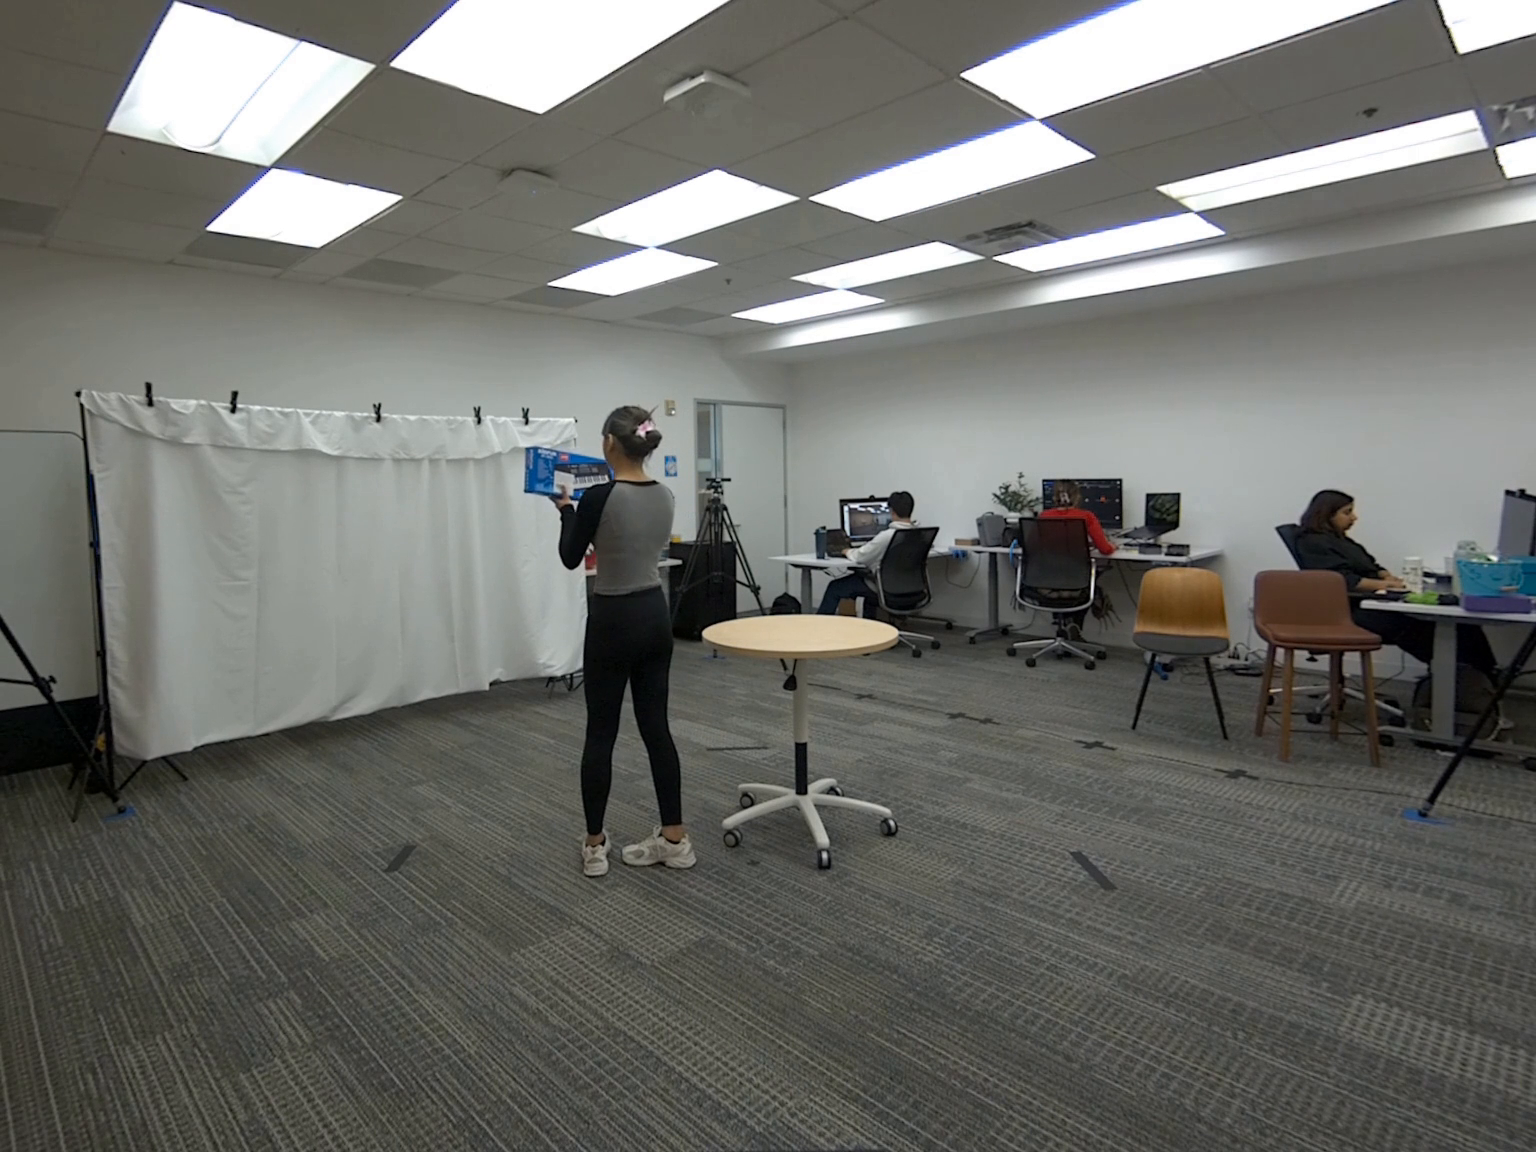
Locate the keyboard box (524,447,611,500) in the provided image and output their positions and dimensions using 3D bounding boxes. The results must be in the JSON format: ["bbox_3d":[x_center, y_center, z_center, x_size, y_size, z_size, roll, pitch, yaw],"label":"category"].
[{"bbox_3d":[-0.755,-0.388,3.333,0.061,0.176,0.424,-3,-4,35],"label":"keyboard box"}]
